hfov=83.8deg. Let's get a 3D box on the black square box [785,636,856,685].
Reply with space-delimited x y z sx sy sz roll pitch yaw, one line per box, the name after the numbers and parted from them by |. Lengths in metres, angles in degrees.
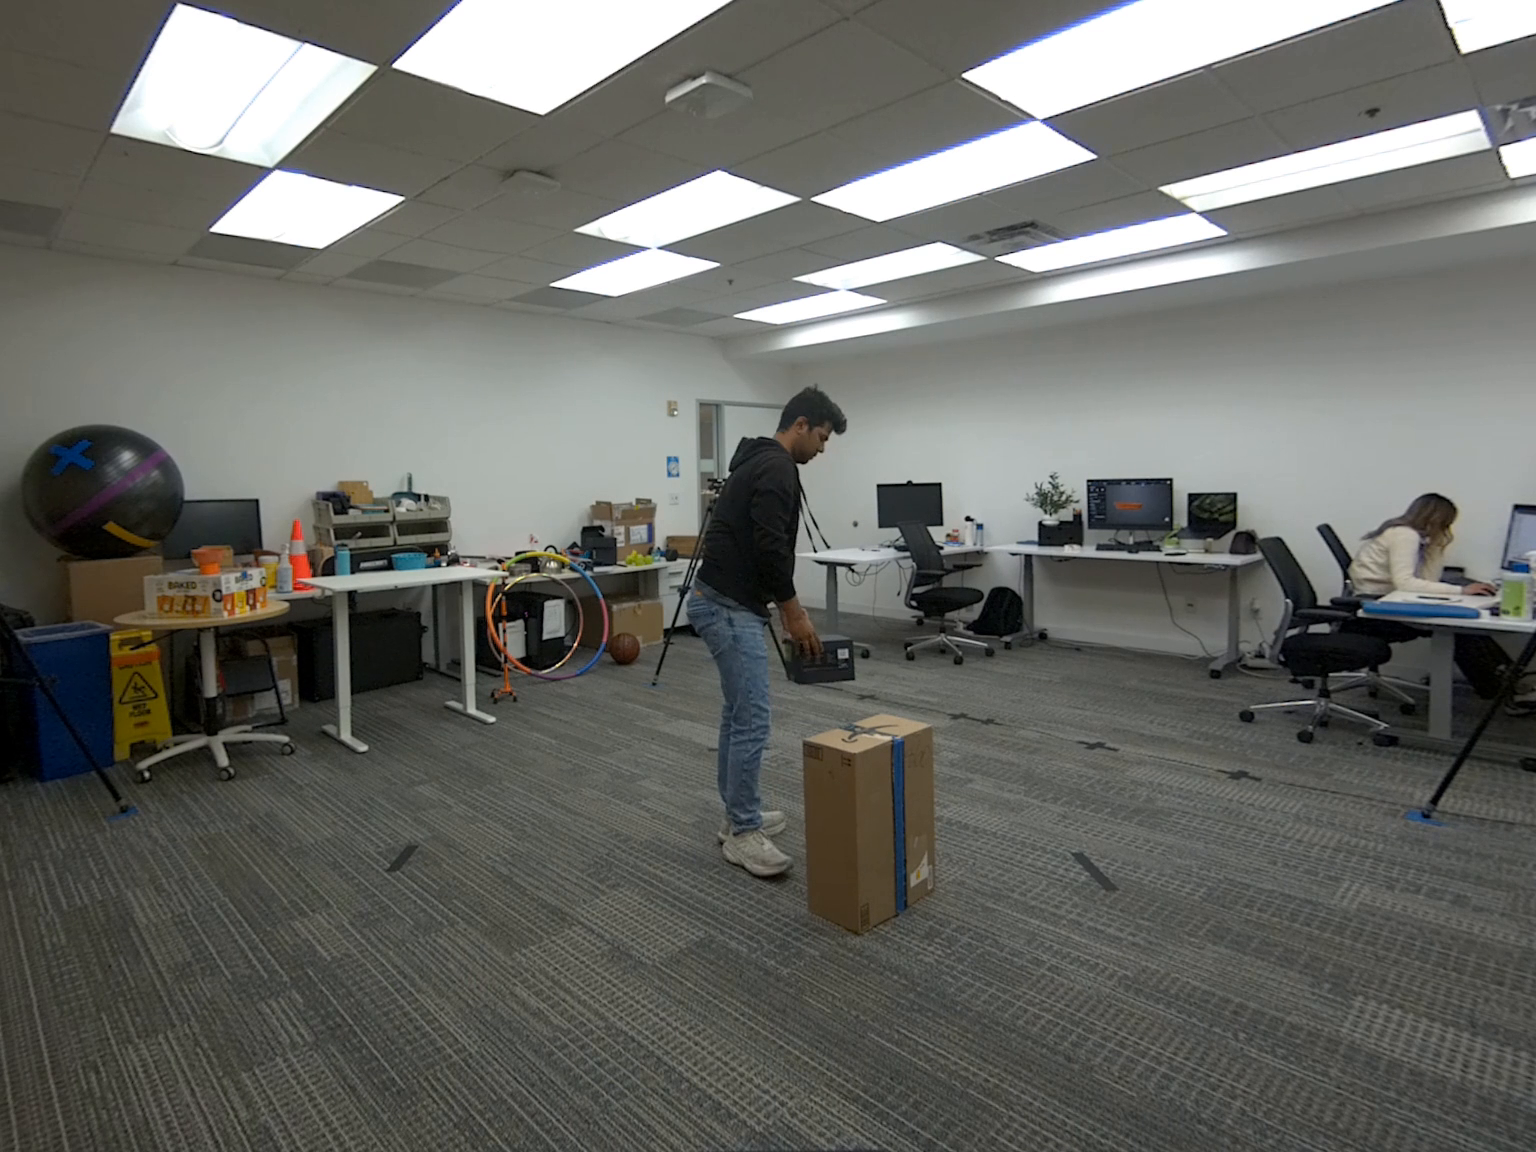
0.194 0.322 3.268 0.215 0.156 0.229 -3 0 -8 | black square box
